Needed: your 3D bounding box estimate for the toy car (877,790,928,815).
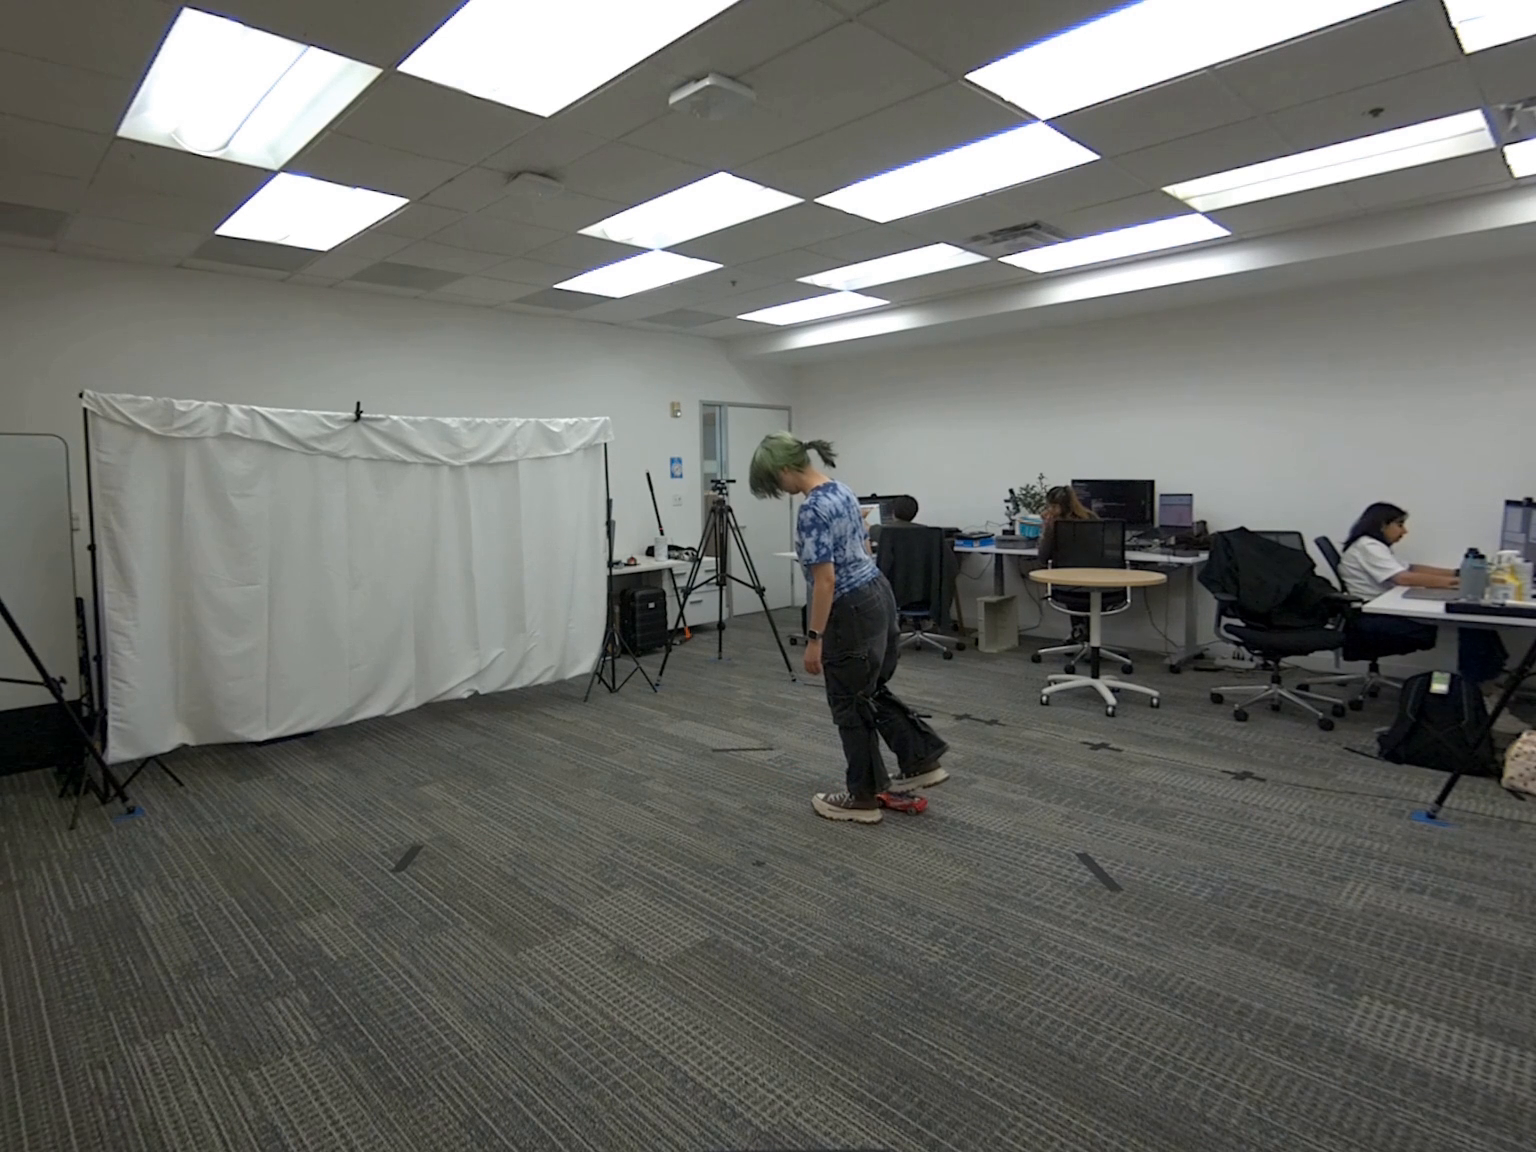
[{"bbox_3d":[0.544,0.951,3.627,0.263,0.082,0.127,15,13,33],"label":"toy car"}]
